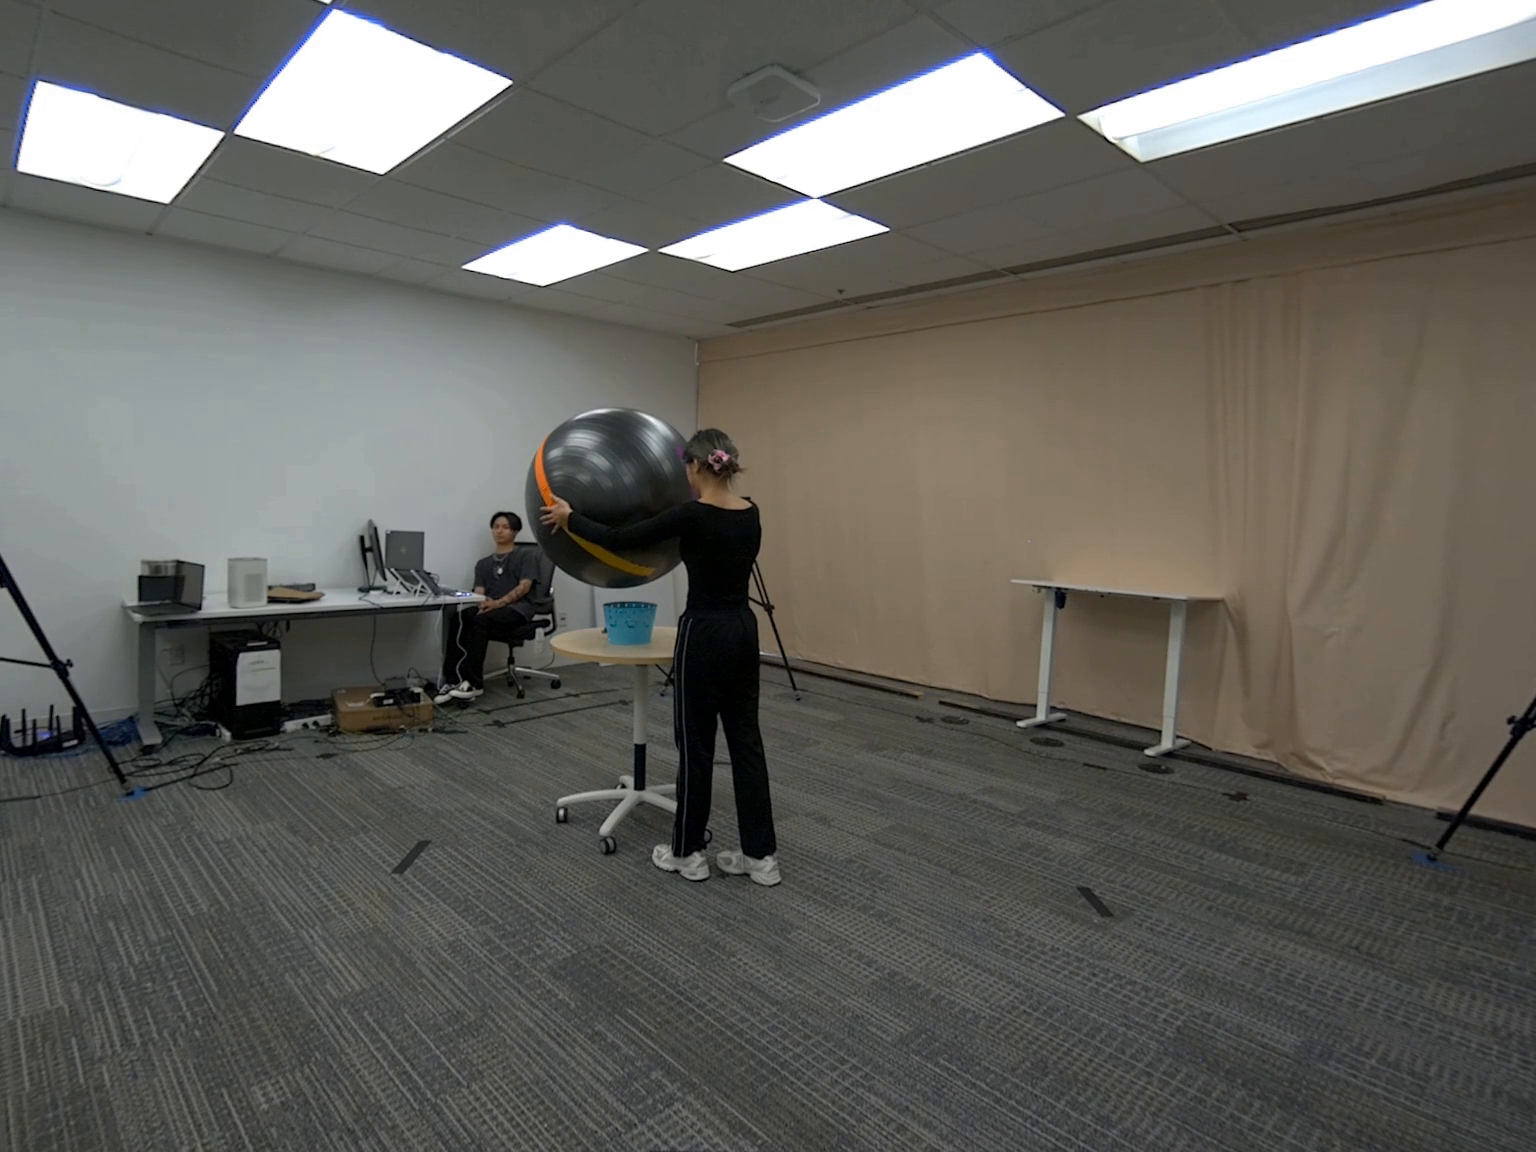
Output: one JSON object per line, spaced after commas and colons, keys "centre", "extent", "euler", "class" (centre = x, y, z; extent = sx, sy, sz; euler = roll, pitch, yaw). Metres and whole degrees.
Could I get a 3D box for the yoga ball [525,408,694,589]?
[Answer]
{"centre": [-0.644, -0.323, 3.549], "extent": [0.757, 0.756, 0.761], "euler": [1, 4, -1], "class": "yoga ball"}
